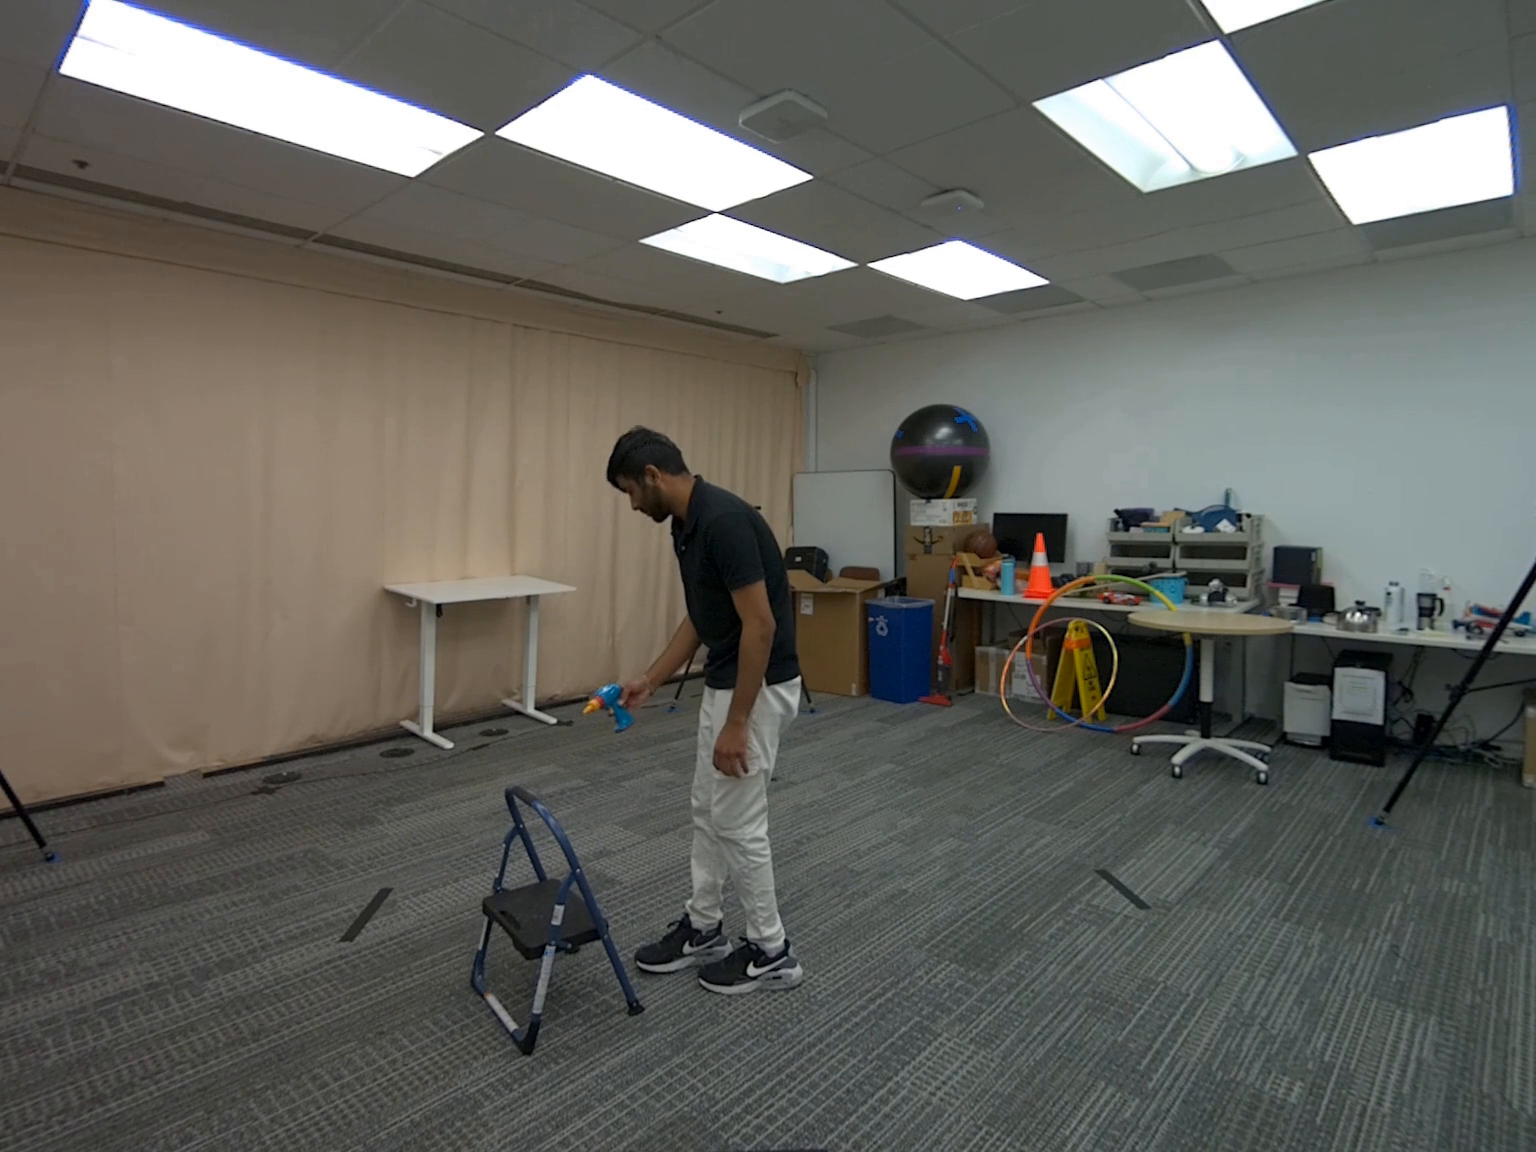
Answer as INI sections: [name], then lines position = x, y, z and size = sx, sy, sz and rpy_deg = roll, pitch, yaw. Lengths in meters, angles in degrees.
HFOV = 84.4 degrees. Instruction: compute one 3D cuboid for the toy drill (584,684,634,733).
[toy drill]
position = -0.468, 0.408, 2.506
size = 0.062, 0.145, 0.167
rpy_deg = -27, 5, 29
